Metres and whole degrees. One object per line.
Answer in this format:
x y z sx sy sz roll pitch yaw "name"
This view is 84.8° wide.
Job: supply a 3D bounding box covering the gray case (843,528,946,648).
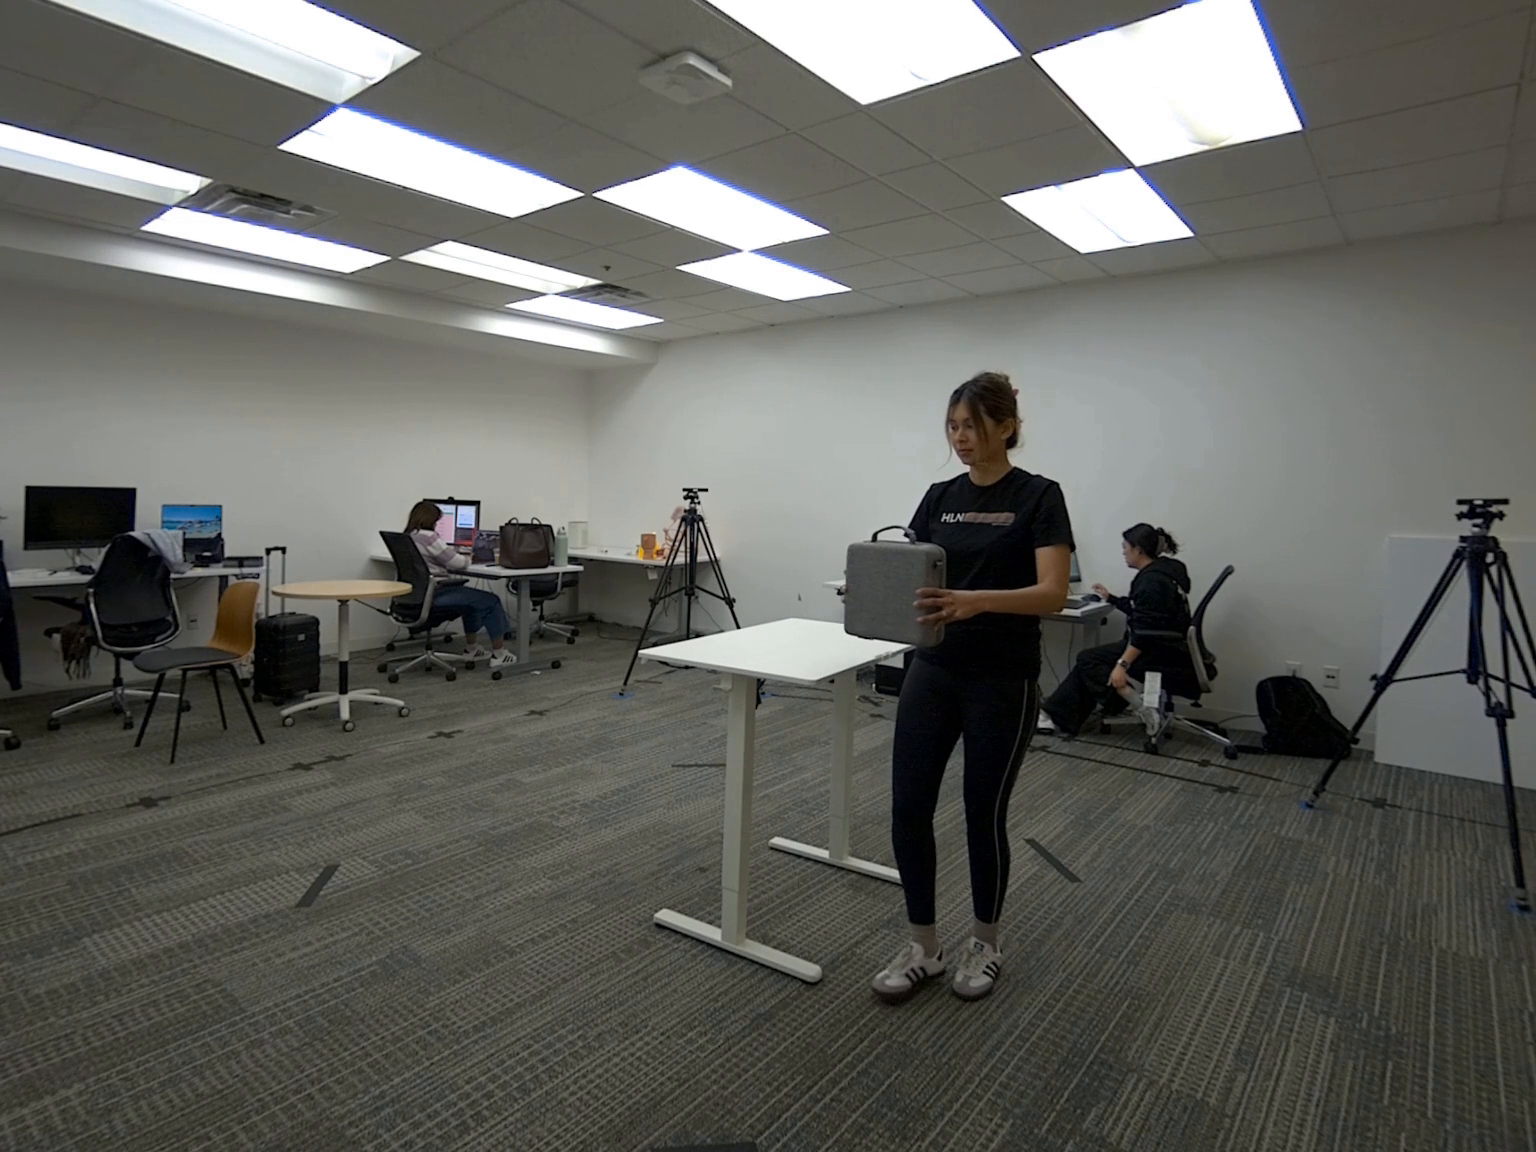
0.313 0.033 2.180 0.265 0.260 0.101 4 4 42 "gray case"
